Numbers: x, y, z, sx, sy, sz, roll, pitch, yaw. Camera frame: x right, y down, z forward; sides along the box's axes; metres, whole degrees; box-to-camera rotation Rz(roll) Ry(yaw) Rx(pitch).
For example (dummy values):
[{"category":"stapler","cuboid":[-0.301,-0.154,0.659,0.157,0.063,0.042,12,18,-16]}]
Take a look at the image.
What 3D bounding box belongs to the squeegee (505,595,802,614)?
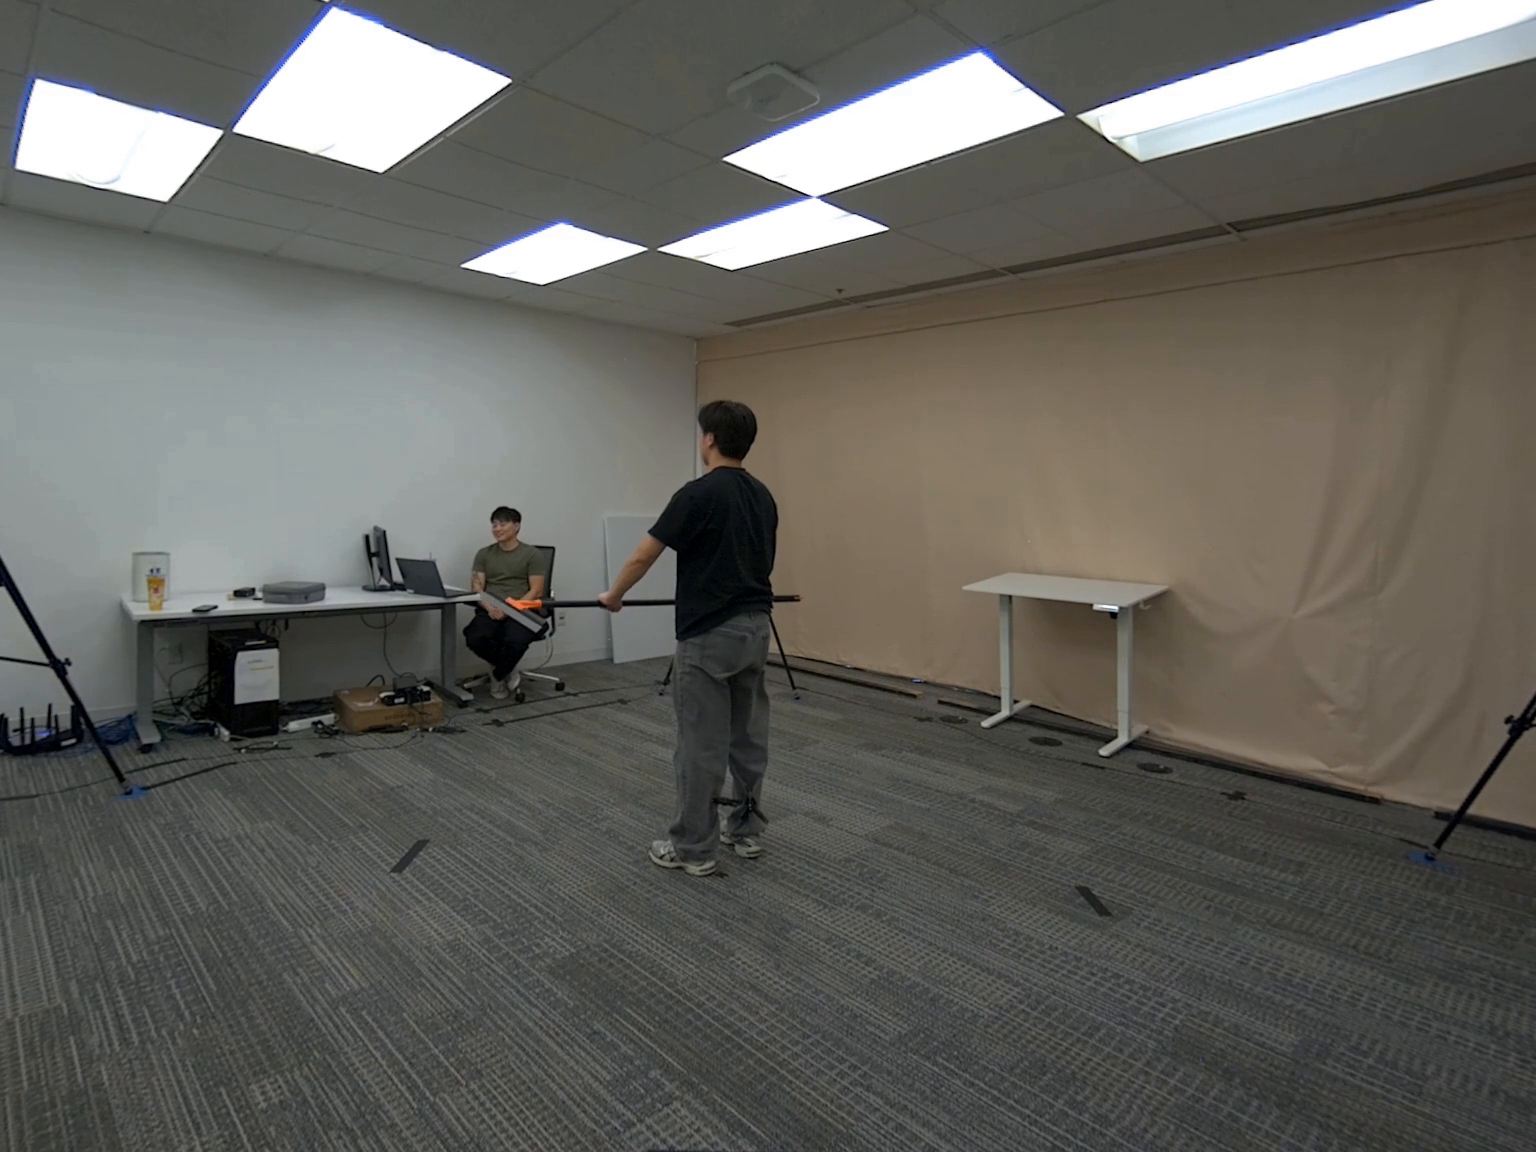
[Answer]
[{"category":"squeegee","cuboid":[-0.397,0.114,3.502,1.501,0.052,0.450,0,13,-42]}]
